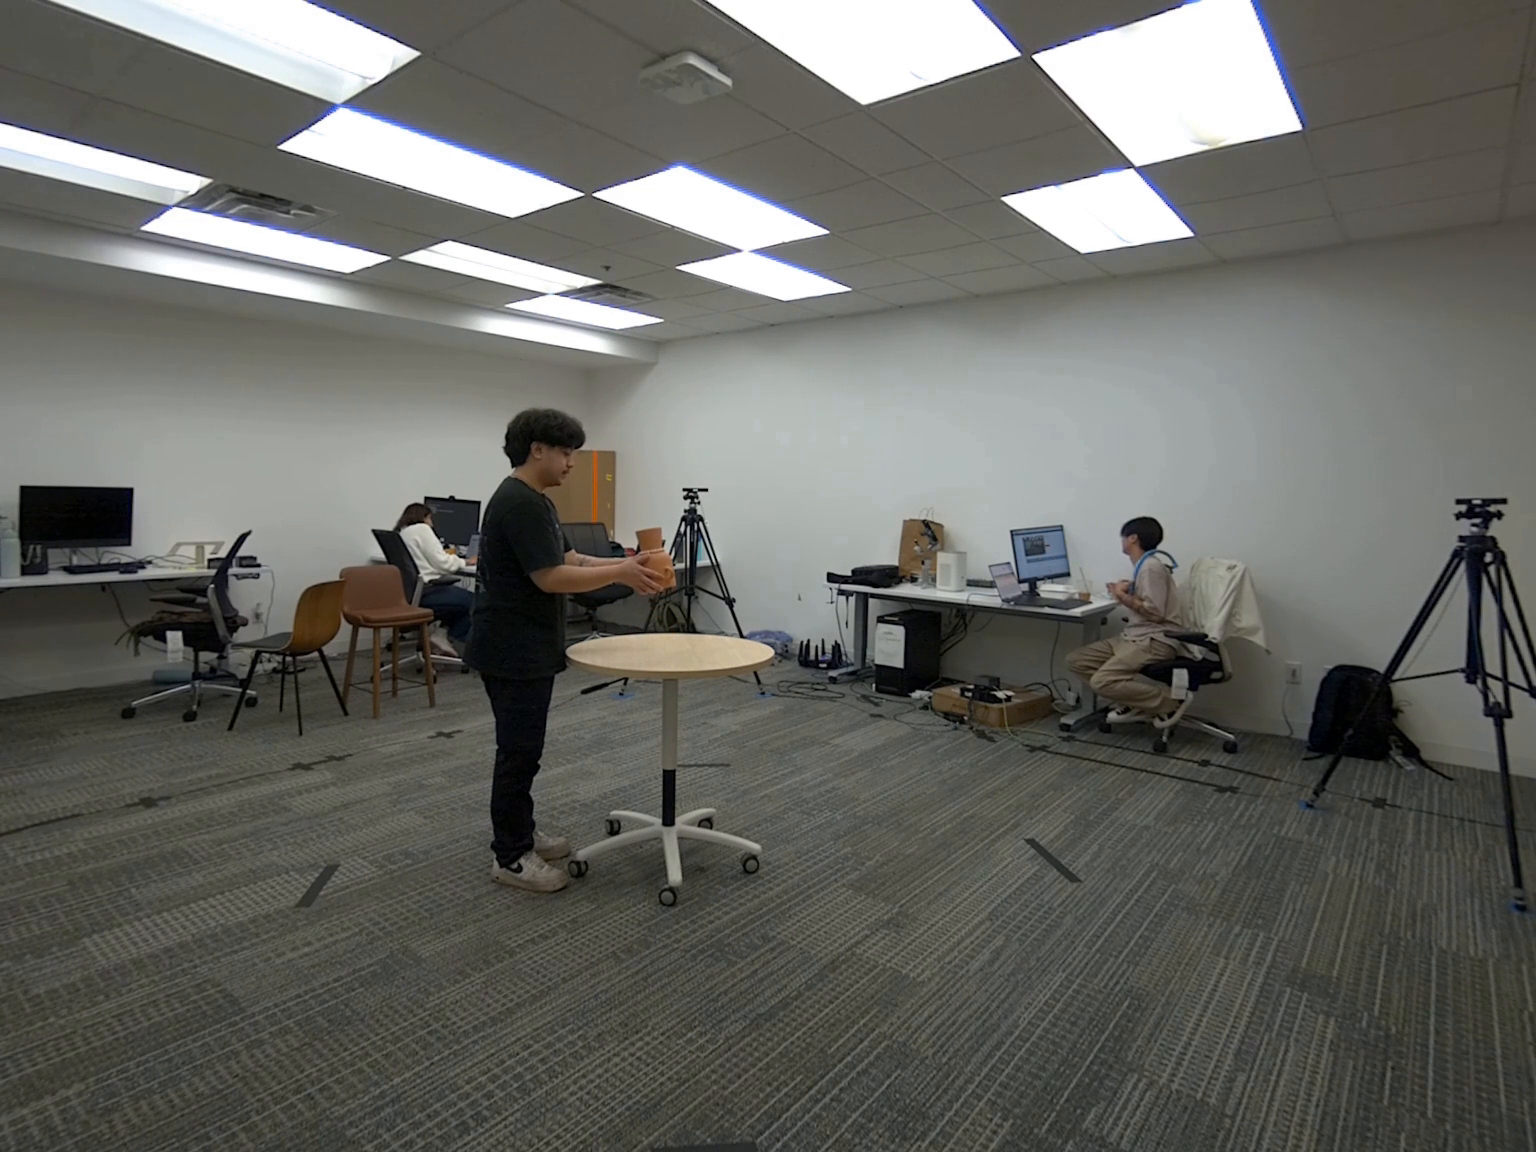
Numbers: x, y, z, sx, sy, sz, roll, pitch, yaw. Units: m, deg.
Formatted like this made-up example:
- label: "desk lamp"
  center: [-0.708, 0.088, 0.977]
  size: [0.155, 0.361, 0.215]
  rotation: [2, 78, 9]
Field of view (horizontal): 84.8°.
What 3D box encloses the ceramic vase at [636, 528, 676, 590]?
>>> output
- label: "ceramic vase"
  center: [-0.439, -0.062, 3.097]
  size: [0.160, 0.220, 0.133]
  rotation: [-10, -2, 8]
